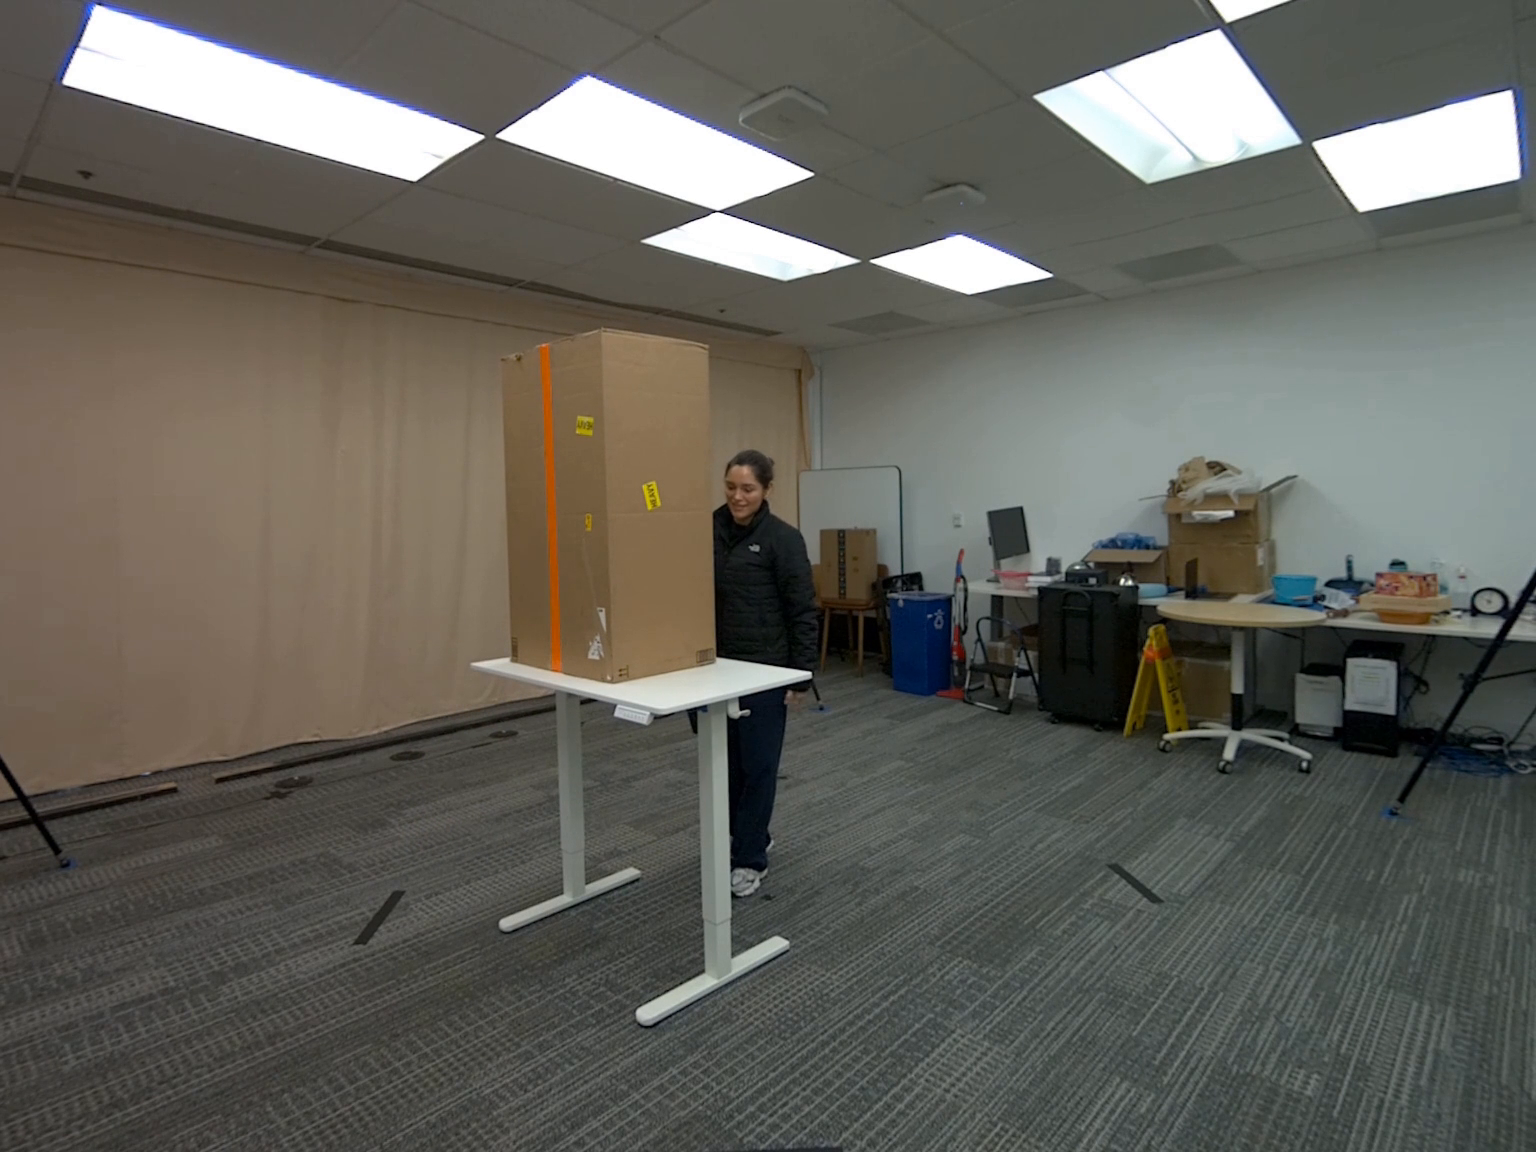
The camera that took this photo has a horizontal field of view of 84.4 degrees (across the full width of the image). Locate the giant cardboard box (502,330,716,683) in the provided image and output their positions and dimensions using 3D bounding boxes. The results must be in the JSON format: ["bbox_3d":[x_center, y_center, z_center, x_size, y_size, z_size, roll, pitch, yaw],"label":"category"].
[{"bbox_3d":[-0.518,-0.221,2.762,0.433,1.025,0.603,-5,4,-44],"label":"giant cardboard box"}]
